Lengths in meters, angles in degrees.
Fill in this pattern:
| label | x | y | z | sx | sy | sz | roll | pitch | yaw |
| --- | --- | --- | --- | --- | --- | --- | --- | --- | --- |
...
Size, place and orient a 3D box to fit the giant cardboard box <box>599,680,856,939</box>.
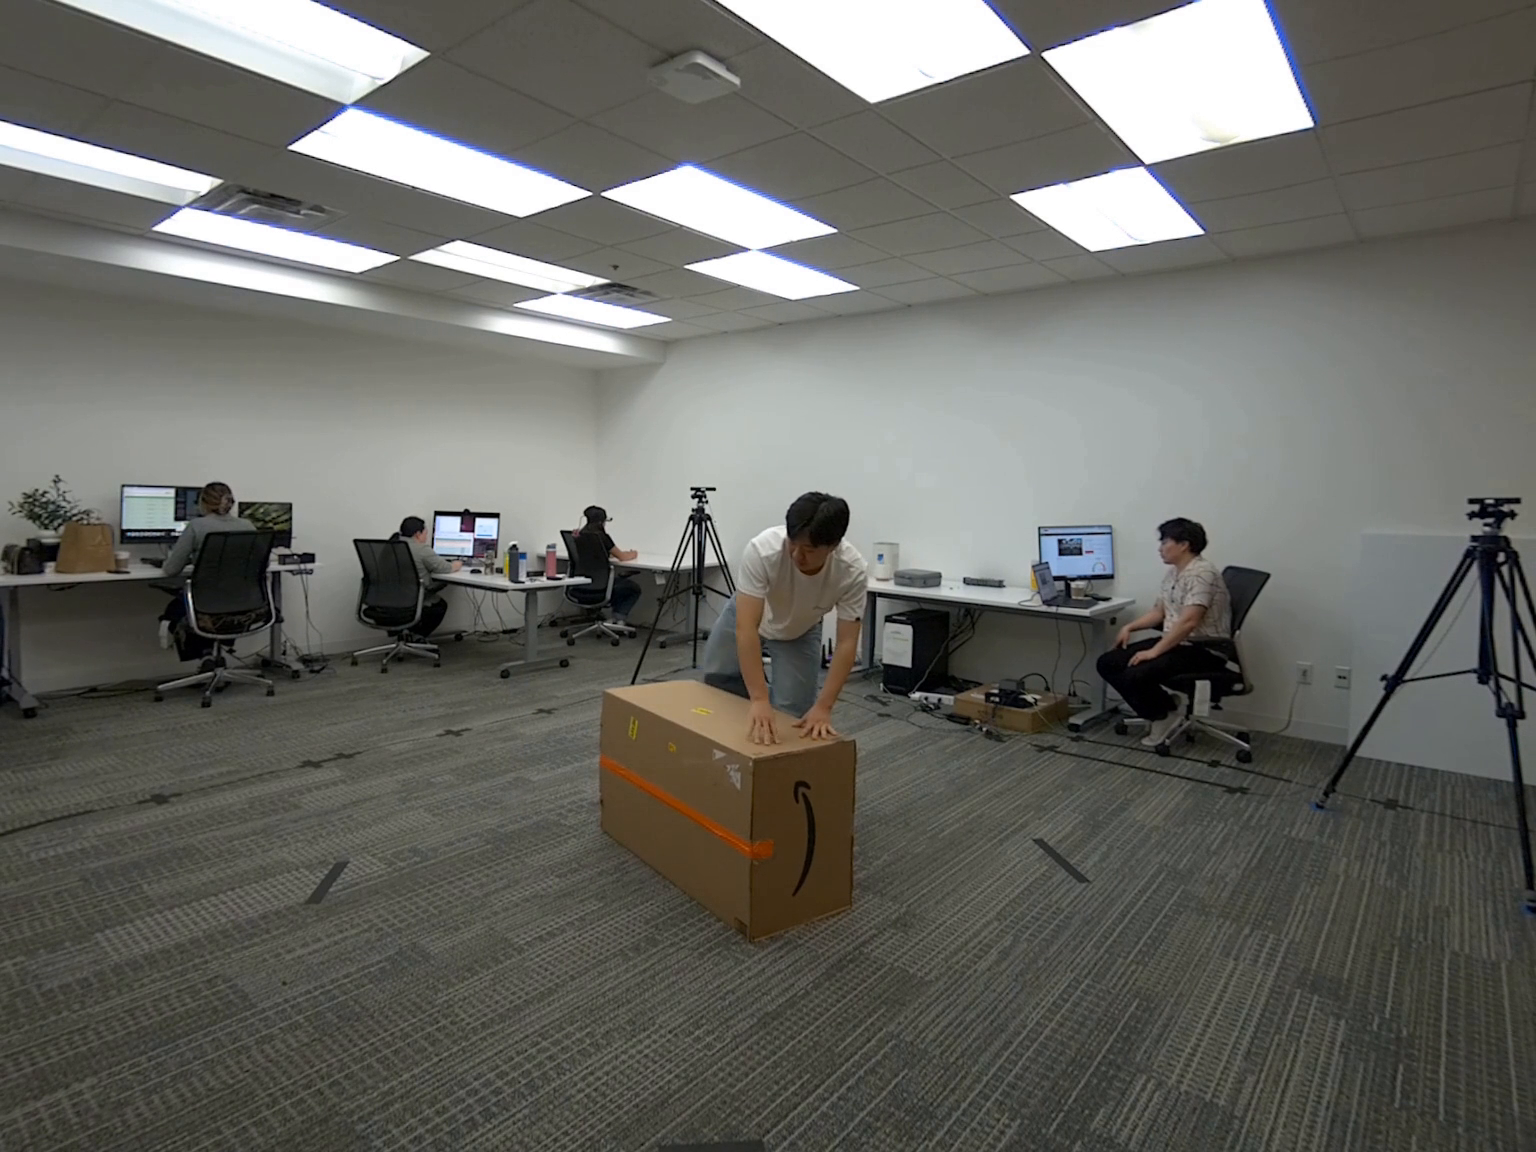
| label | x | y | z | sx | sy | sz | roll | pitch | yaw |
| --- | --- | --- | --- | --- | --- | --- | --- | --- | --- |
| giant cardboard box | -0.205 | 0.779 | 3.116 | 0.414 | 0.576 | 1.060 | -1 | 5 | -36 |
